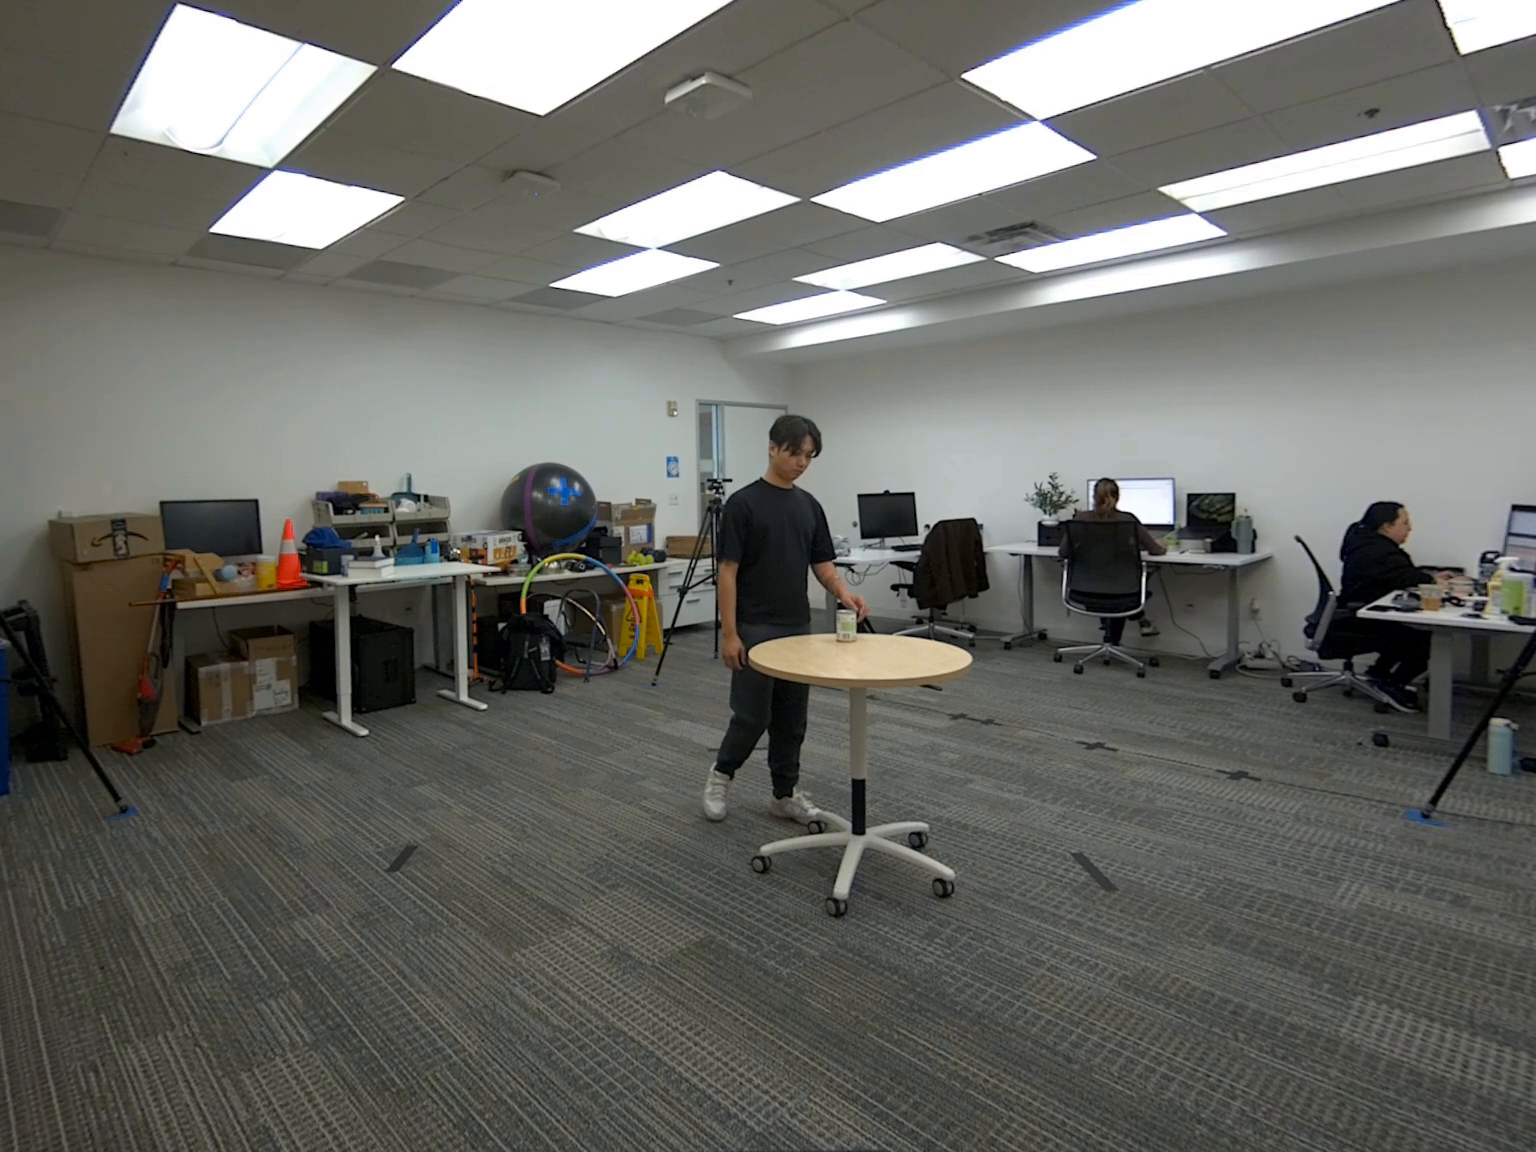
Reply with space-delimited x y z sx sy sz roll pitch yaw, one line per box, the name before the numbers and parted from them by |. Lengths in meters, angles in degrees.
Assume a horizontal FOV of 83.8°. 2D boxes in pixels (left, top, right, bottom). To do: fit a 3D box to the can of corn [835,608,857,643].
can of corn | 0.297 0.190 3.203 0.074 0.111 0.074 0 4 -2
